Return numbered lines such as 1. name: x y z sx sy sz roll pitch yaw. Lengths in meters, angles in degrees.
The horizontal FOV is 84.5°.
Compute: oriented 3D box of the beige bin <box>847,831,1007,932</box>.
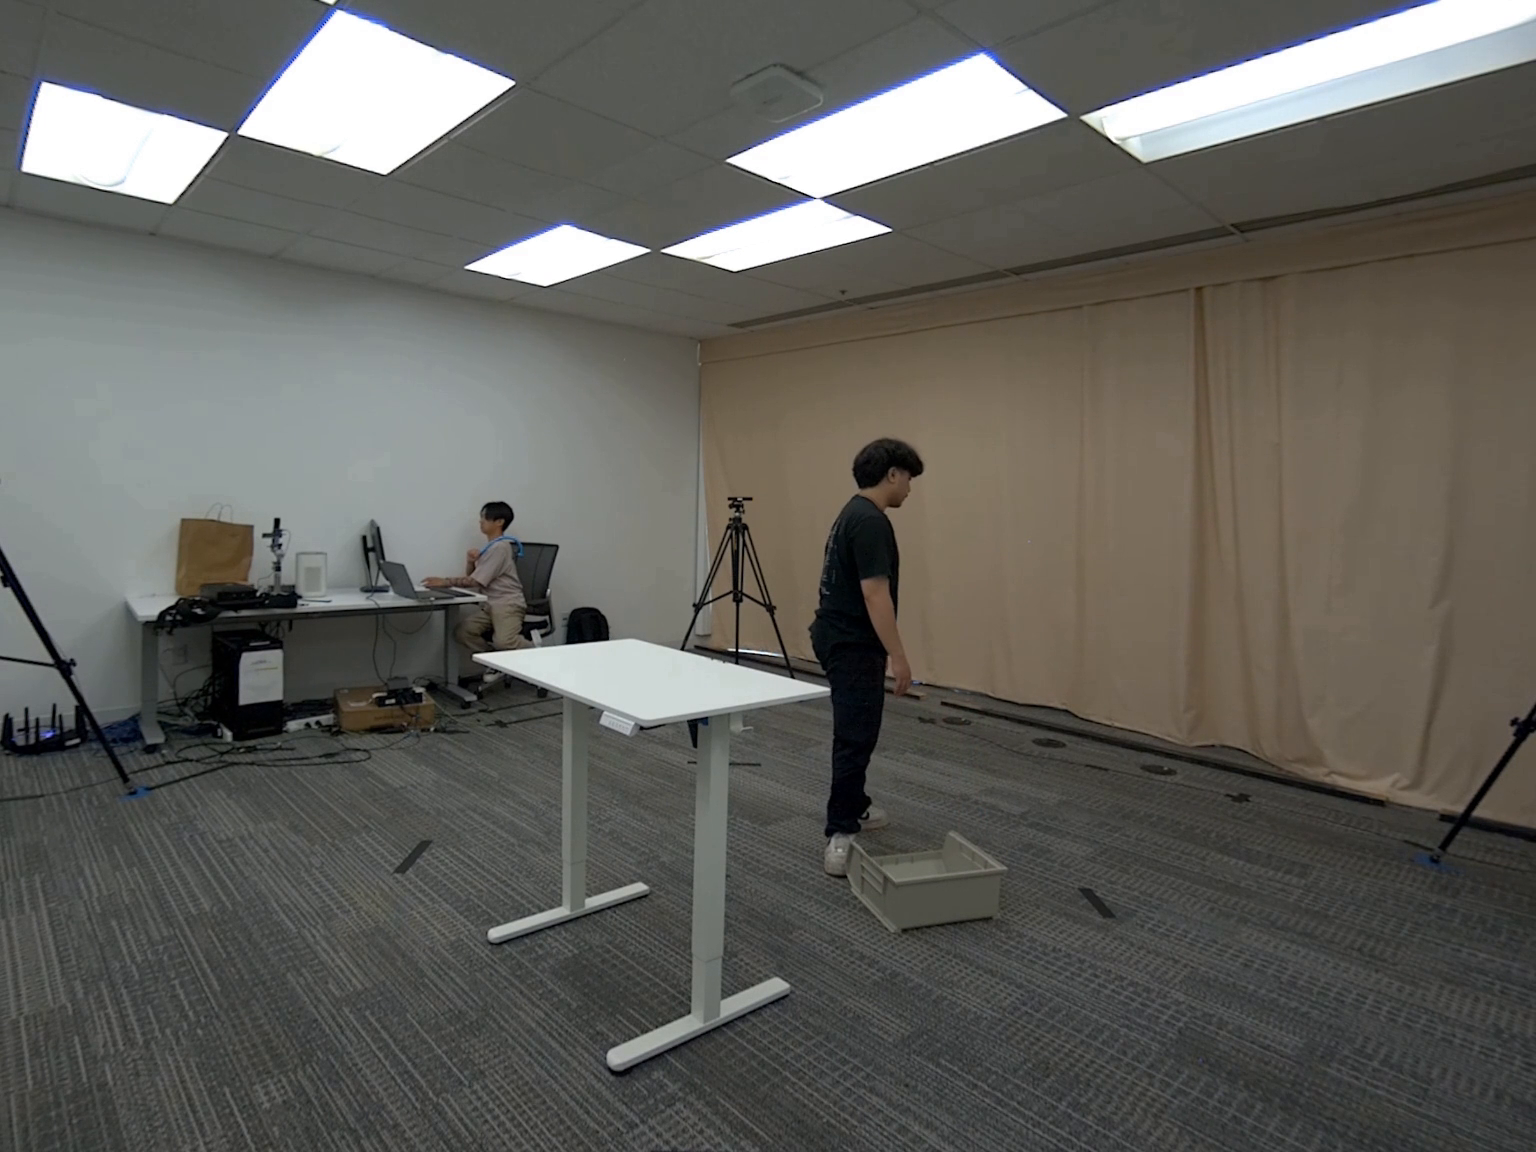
1. beige bin: 0.529 1.051 2.942 0.416 0.188 0.384 1 6 -19
